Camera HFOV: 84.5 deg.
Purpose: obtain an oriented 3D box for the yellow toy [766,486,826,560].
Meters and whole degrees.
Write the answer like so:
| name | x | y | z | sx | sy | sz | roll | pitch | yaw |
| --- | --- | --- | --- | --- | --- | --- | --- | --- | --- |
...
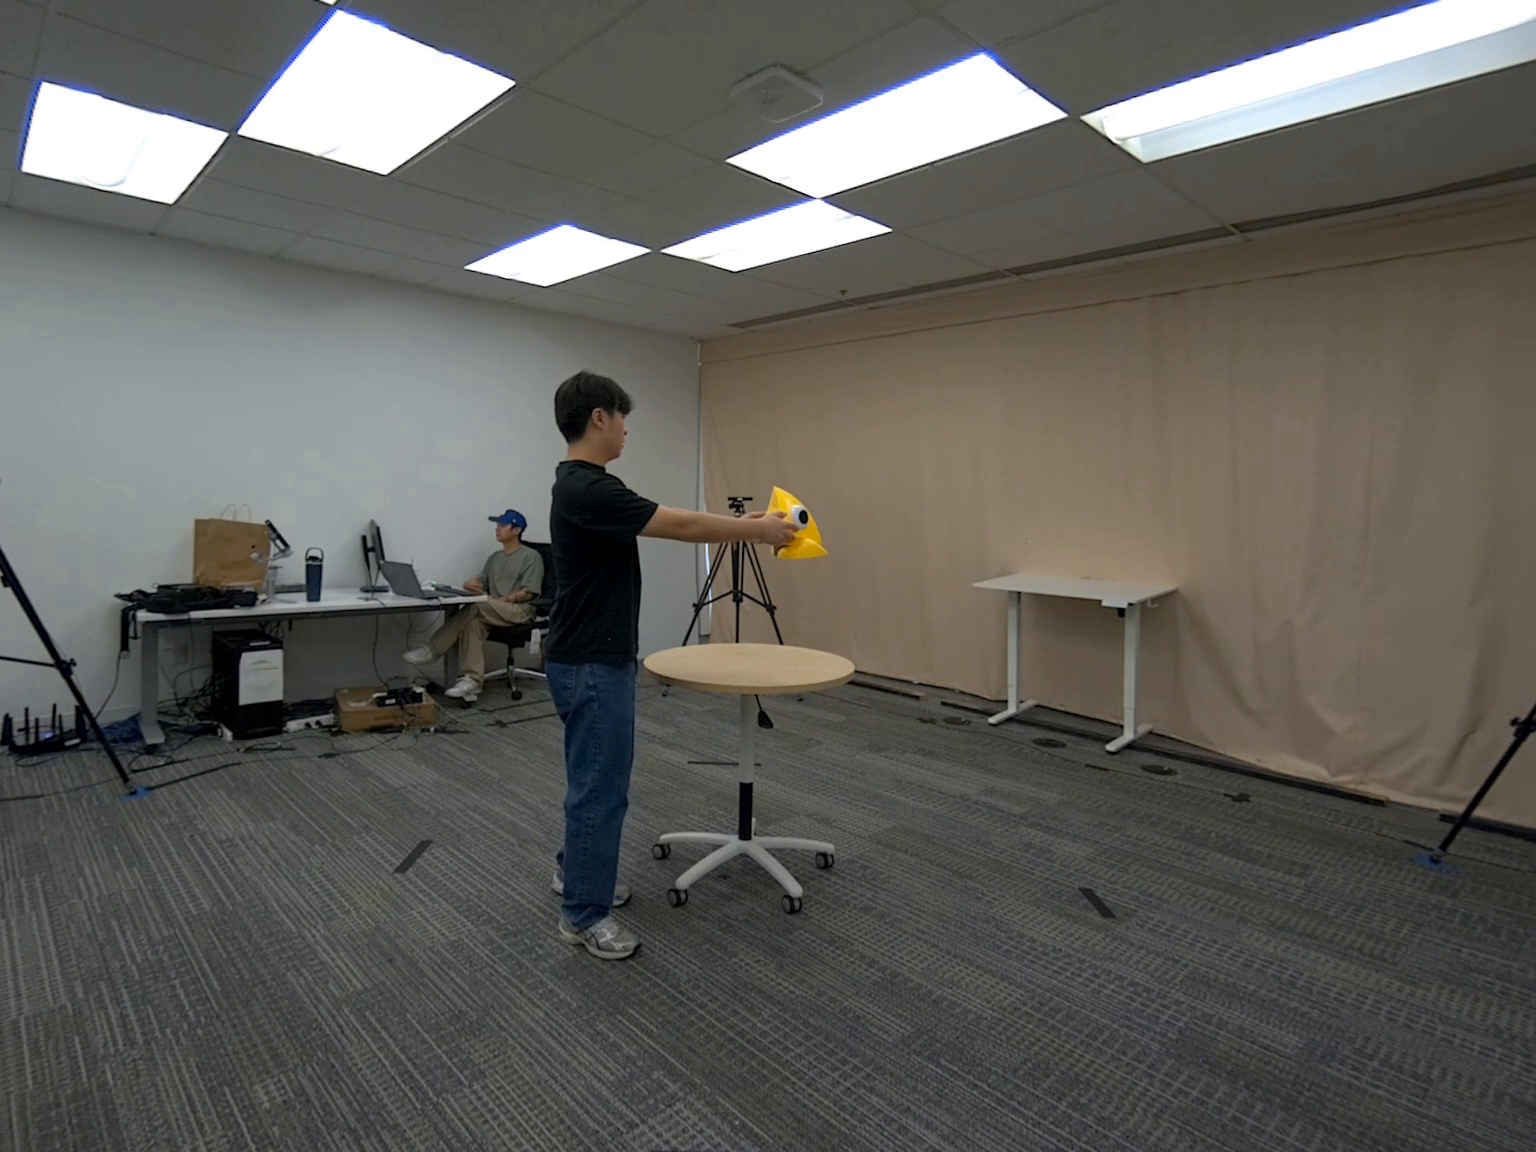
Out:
| name | x | y | z | sx | sy | sz | roll | pitch | yaw |
| --- | --- | --- | --- | --- | --- | --- | --- | --- | --- |
| yellow toy | 0.067 | -0.187 | 2.786 | 0.191 | 0.229 | 0.208 | -6 | 10 | -16 |
